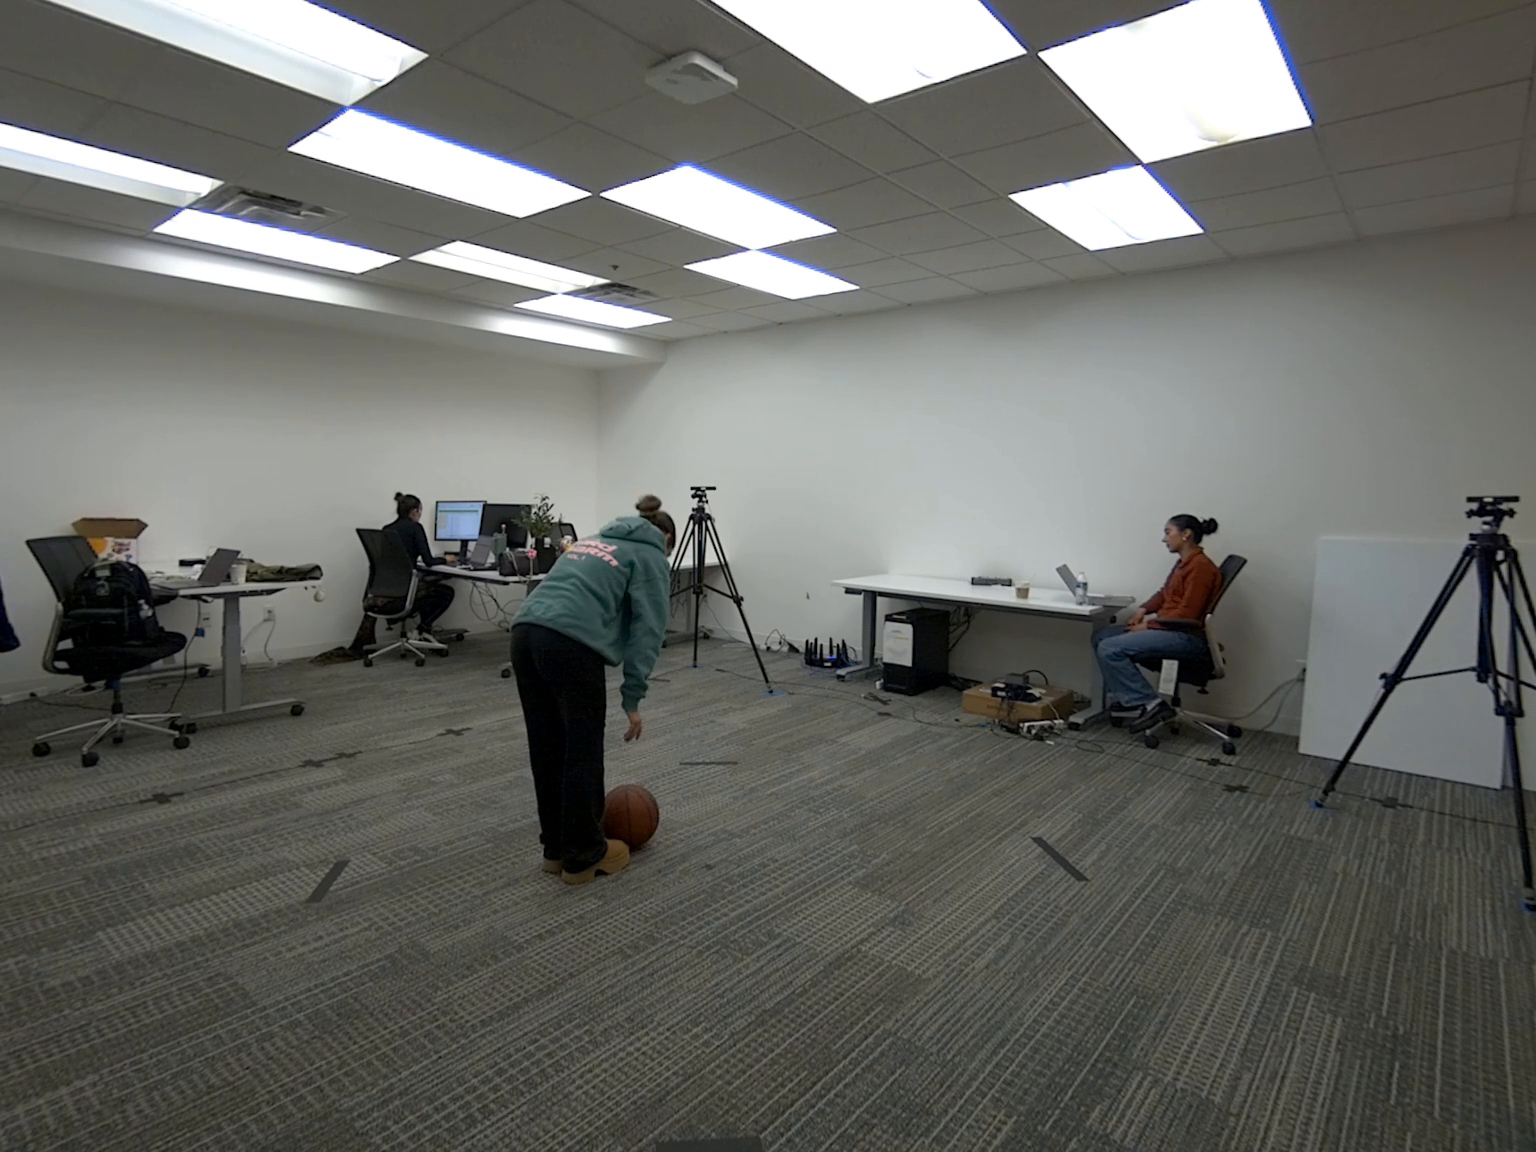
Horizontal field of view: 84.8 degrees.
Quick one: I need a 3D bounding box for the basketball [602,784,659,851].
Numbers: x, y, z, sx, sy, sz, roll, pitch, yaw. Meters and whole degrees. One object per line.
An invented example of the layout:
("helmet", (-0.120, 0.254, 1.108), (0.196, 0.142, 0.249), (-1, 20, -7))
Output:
("basketball", (-0.548, 0.924, 3.279), (0.235, 0.235, 0.237), (1, 4, -2))
